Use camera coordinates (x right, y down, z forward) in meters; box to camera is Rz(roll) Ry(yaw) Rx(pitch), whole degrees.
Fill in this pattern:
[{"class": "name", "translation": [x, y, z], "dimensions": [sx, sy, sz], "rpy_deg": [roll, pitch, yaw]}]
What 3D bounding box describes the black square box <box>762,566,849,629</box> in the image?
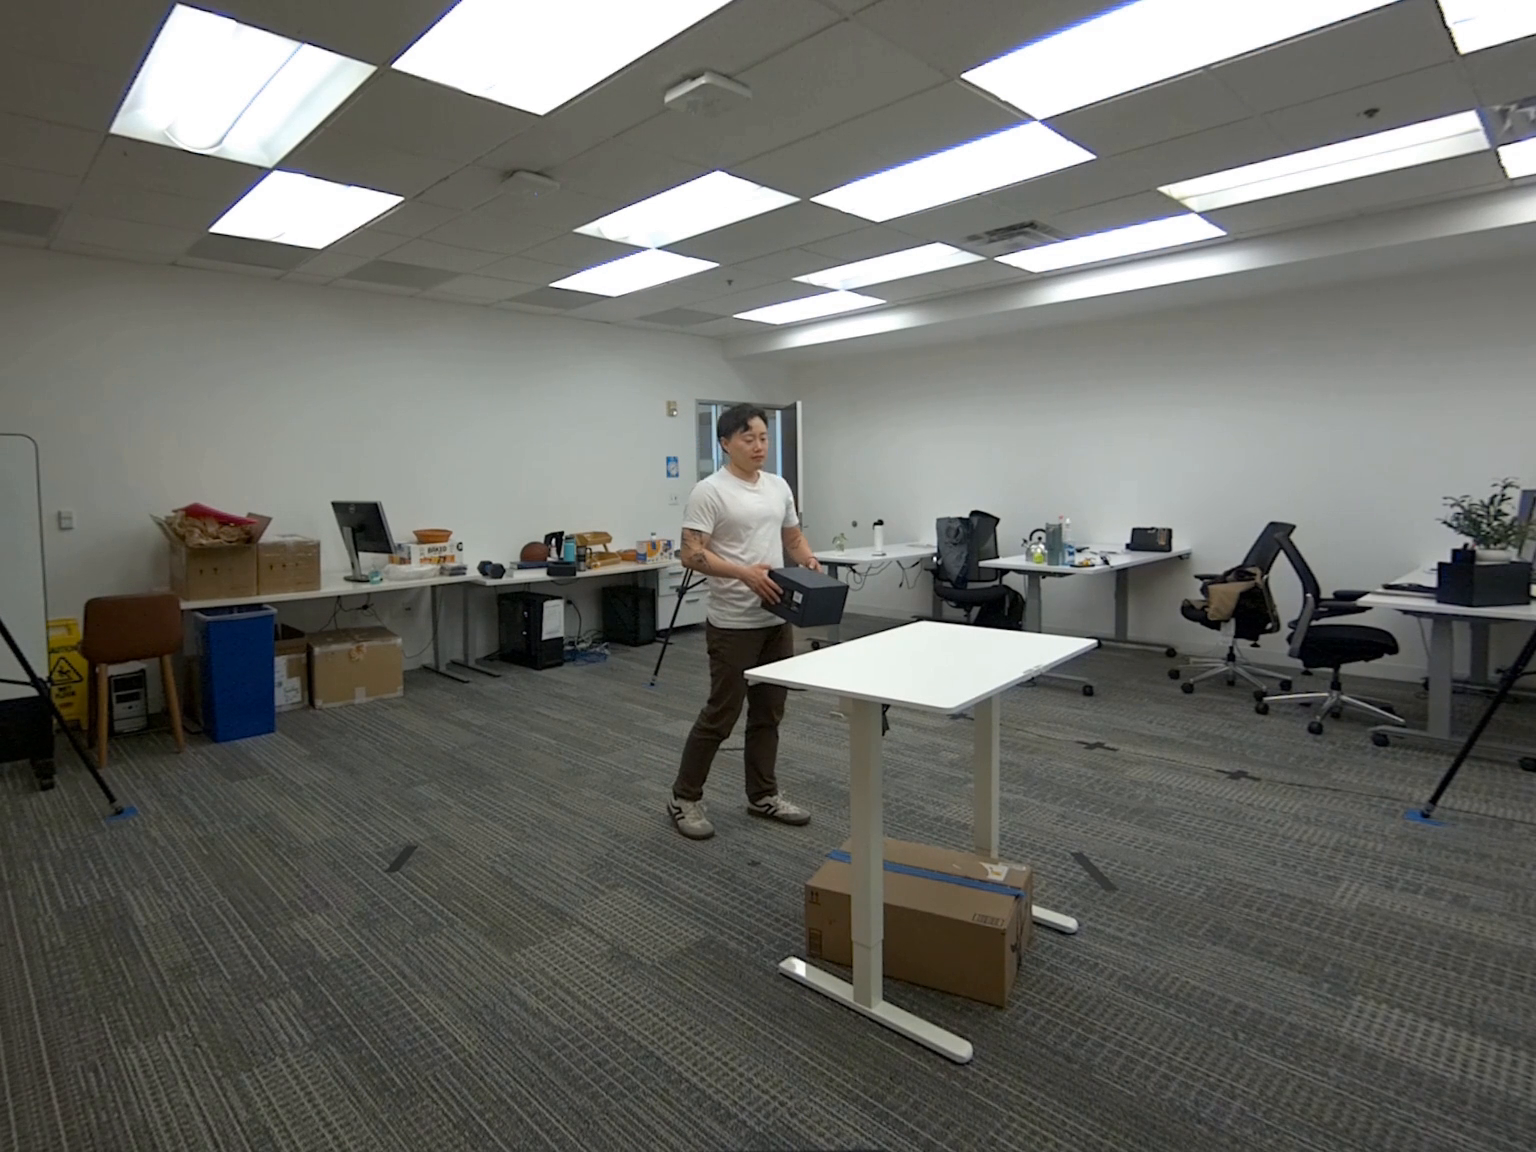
[{"class": "black square box", "translation": [0.136, 0.077, 3.187], "dimensions": [0.222, 0.154, 0.225], "rpy_deg": [-4, 19, -43]}]
